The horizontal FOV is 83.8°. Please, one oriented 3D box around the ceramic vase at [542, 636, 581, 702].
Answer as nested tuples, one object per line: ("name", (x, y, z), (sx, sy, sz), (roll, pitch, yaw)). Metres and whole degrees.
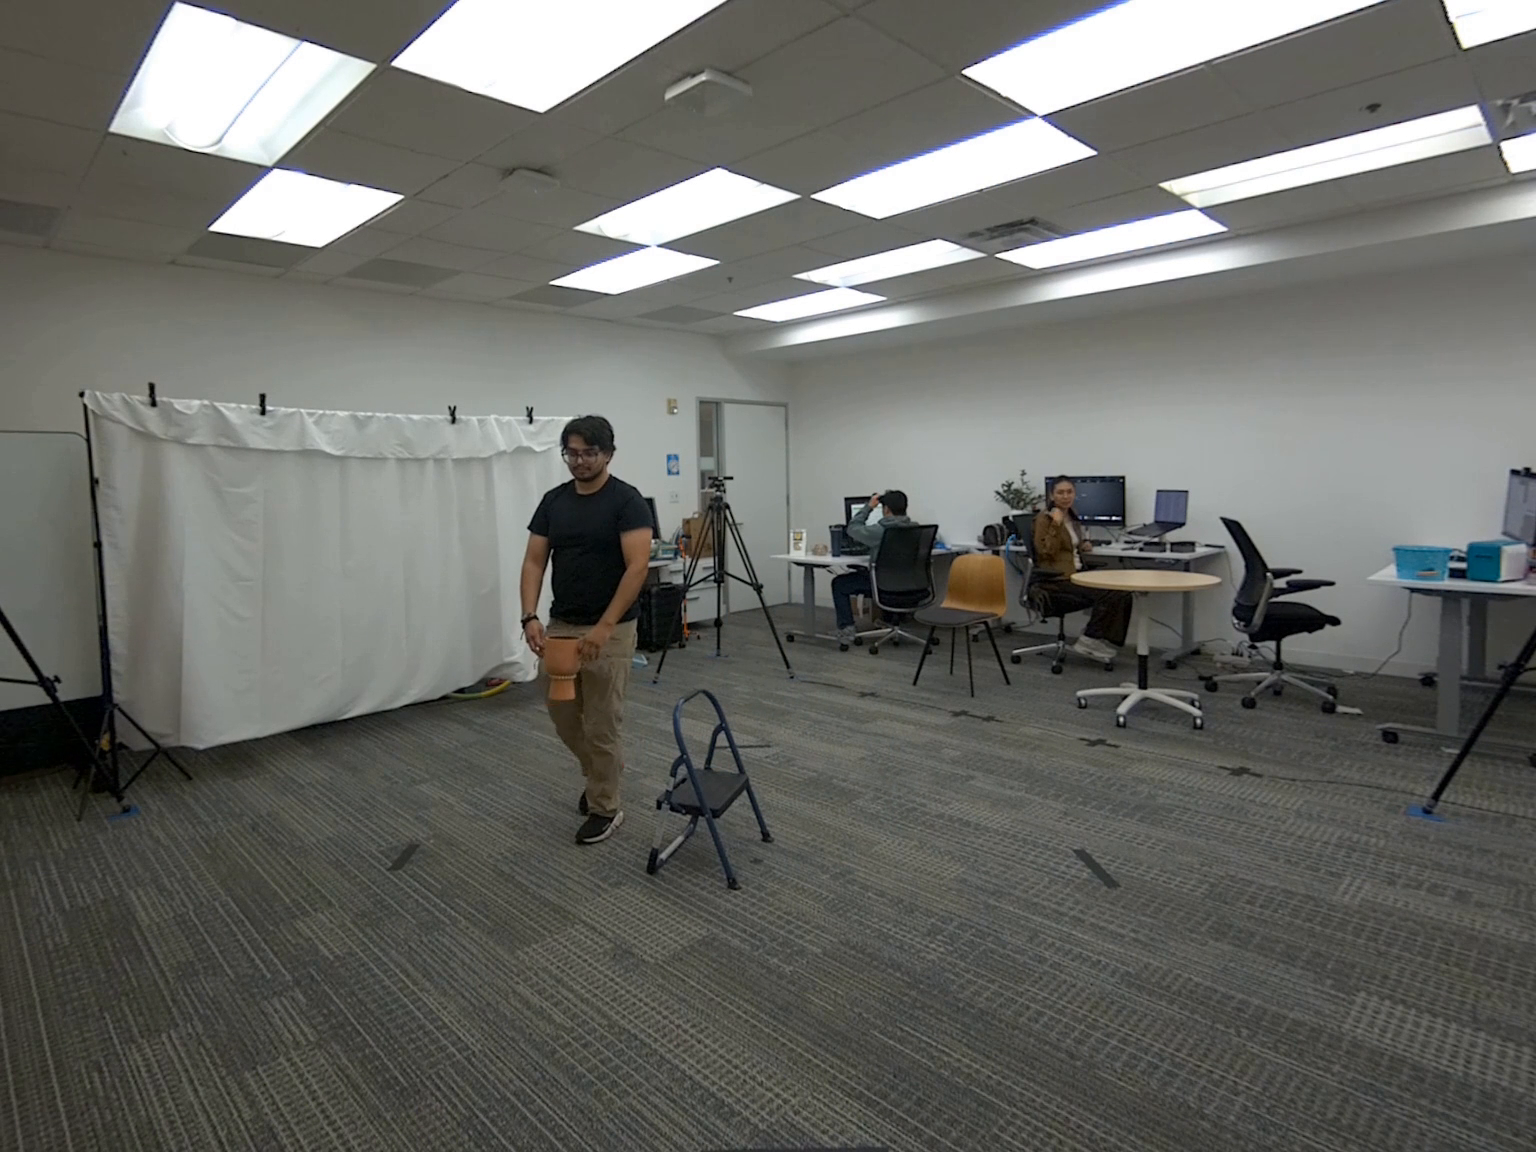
("ceramic vase", (-0.746, 0.339, 3.124), (0.131, 0.219, 0.163), (1, 3, -37))
